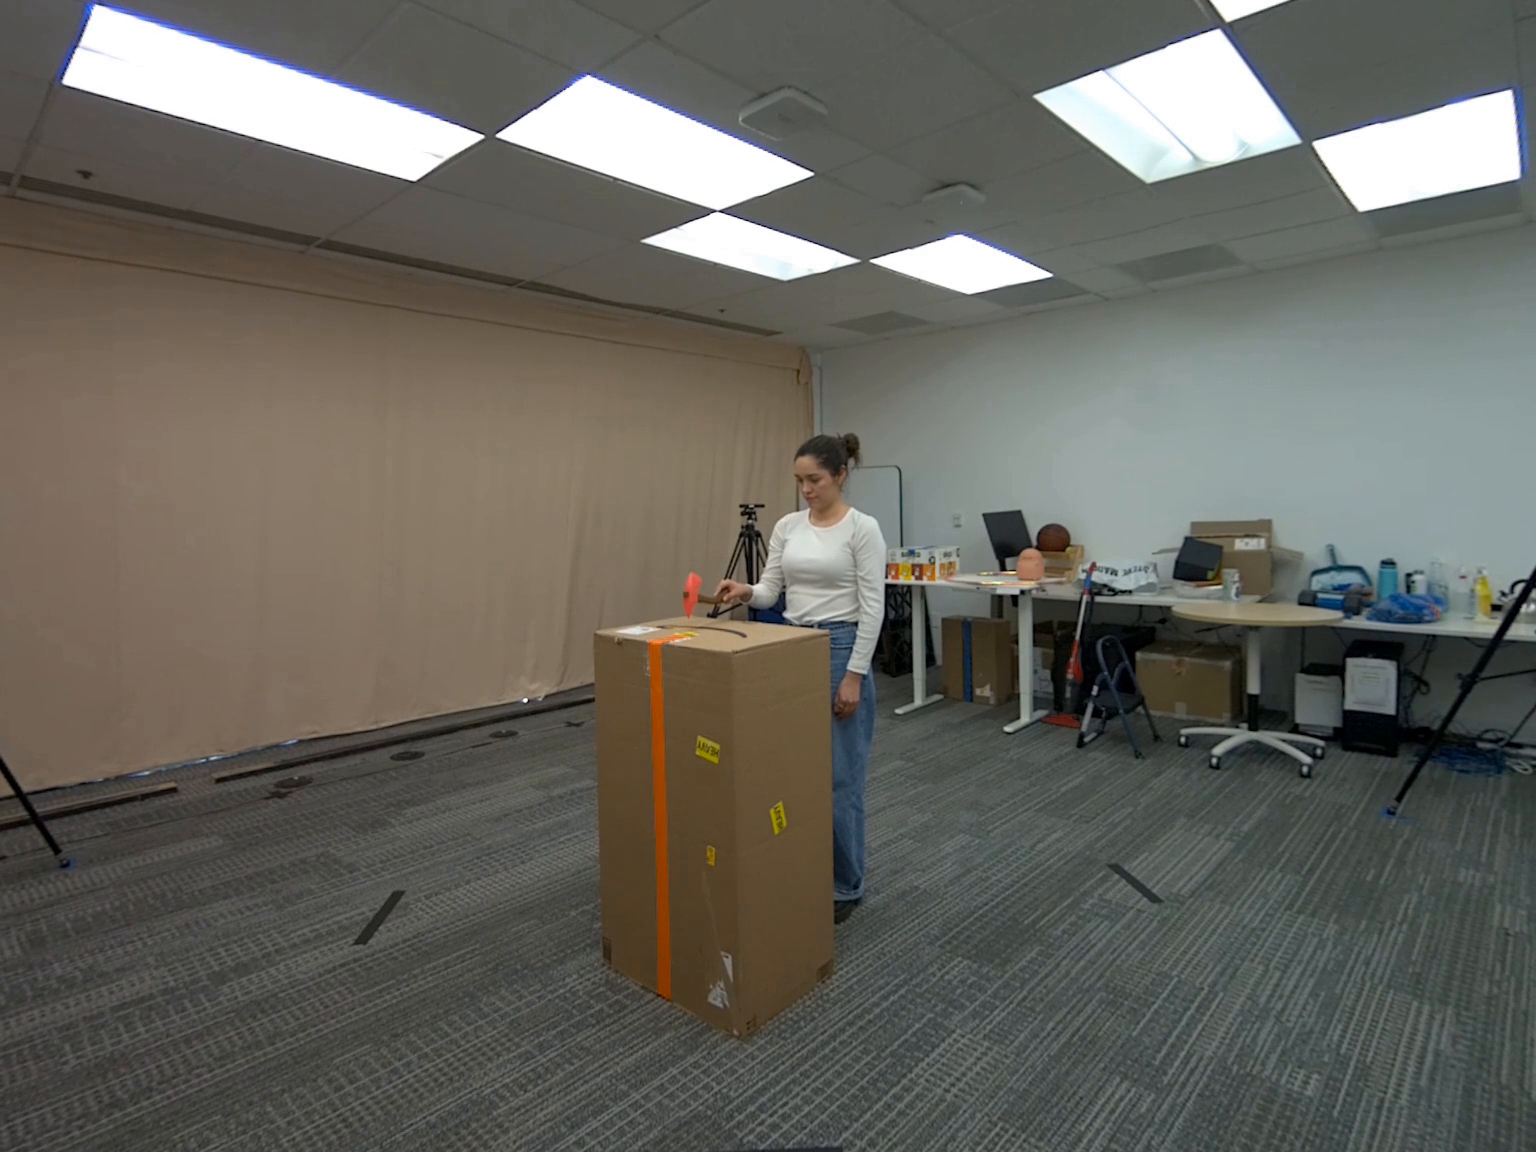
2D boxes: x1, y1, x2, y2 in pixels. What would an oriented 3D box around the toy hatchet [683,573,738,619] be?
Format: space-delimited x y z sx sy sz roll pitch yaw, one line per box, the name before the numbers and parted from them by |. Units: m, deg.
toy hatchet | -0.189 0.047 2.625 0.030 0.130 0.265 -4 8 25
